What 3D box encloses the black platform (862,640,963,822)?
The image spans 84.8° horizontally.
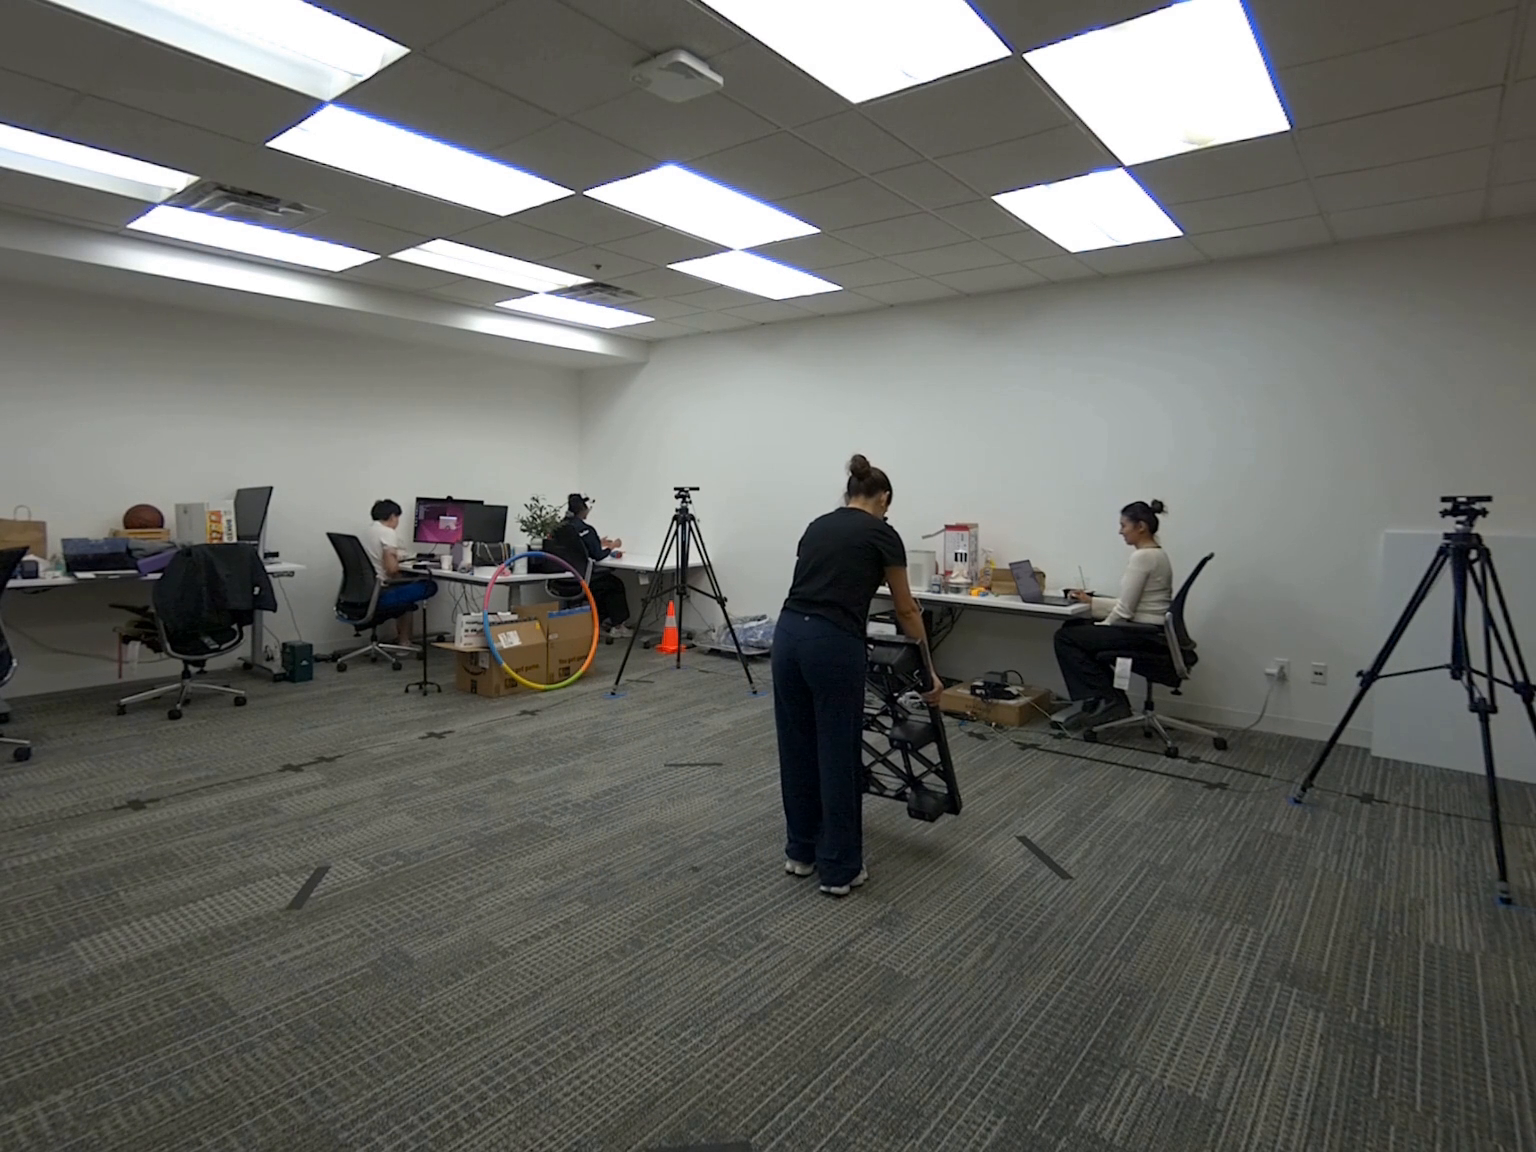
[{"bbox_3d":[0.398,0.577,3.313,0.624,0.786,0.142,2,28,38],"label":"black platform"}]
